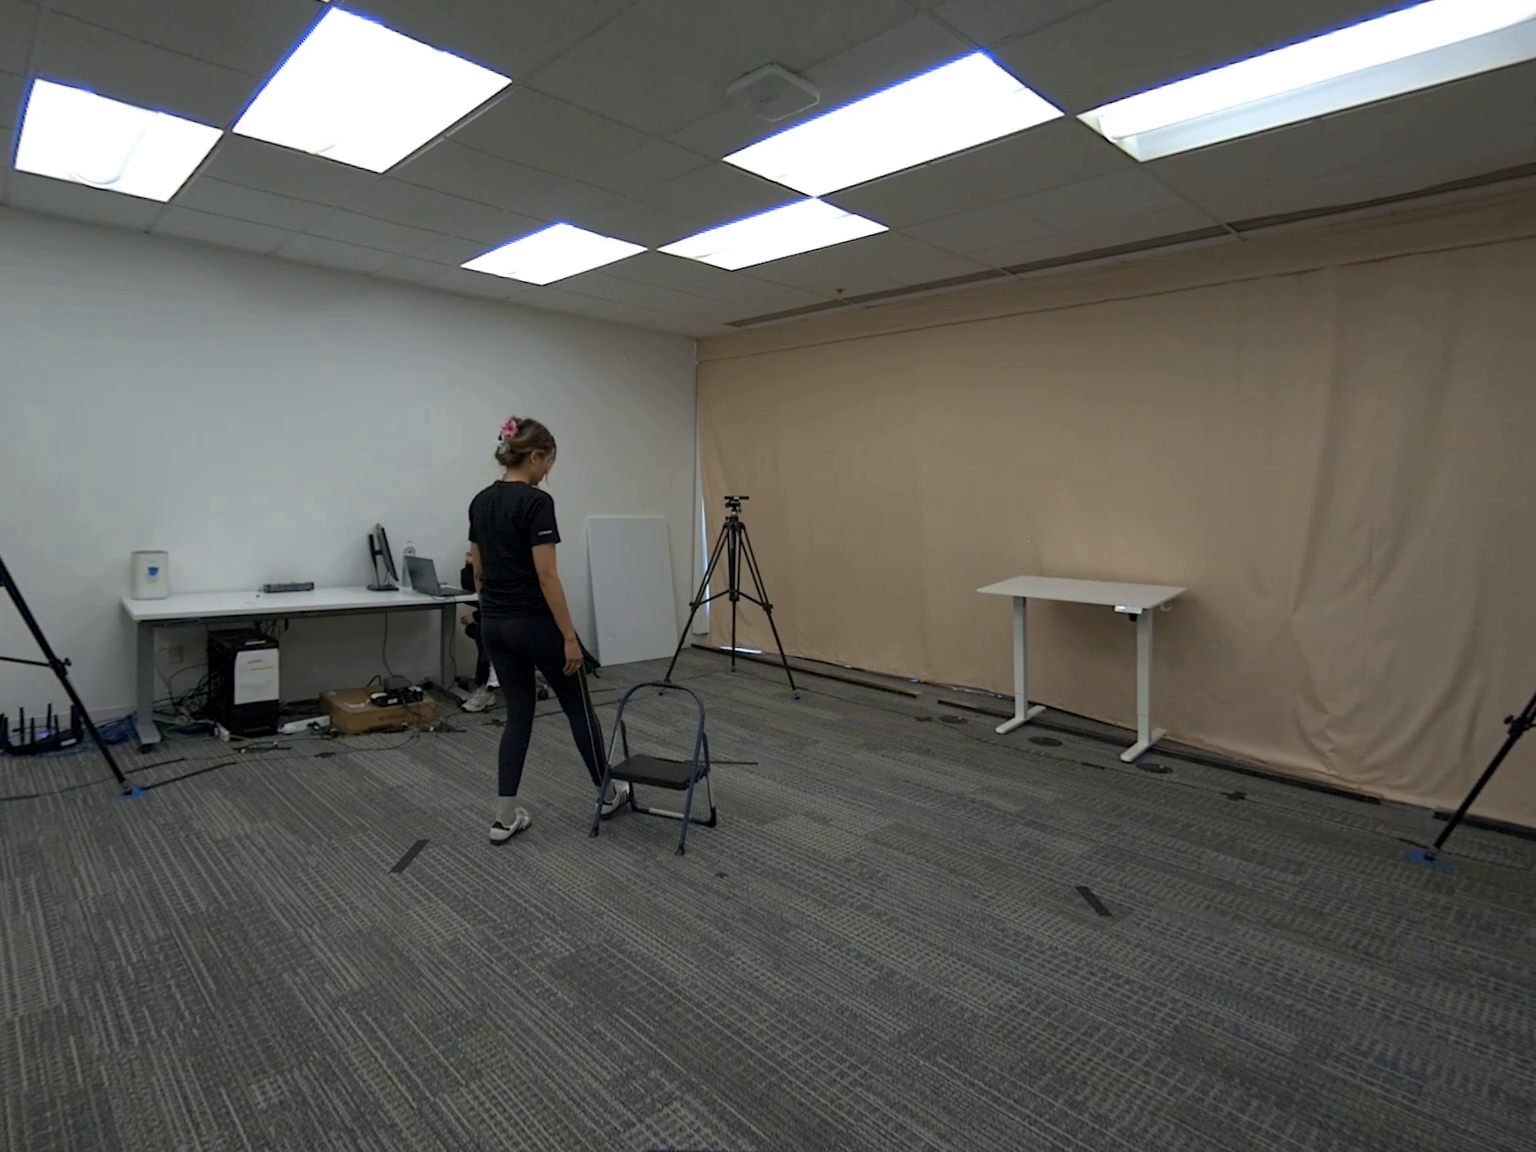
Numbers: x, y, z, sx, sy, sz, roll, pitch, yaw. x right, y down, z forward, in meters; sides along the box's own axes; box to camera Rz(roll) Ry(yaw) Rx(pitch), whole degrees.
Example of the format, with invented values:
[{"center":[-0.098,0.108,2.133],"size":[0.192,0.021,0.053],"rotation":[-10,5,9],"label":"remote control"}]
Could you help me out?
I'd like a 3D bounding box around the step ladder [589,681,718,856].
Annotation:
[{"center":[-0.464,0.761,3.479],"size":[0.438,0.604,0.344],"rotation":[3,5,22],"label":"step ladder"}]
